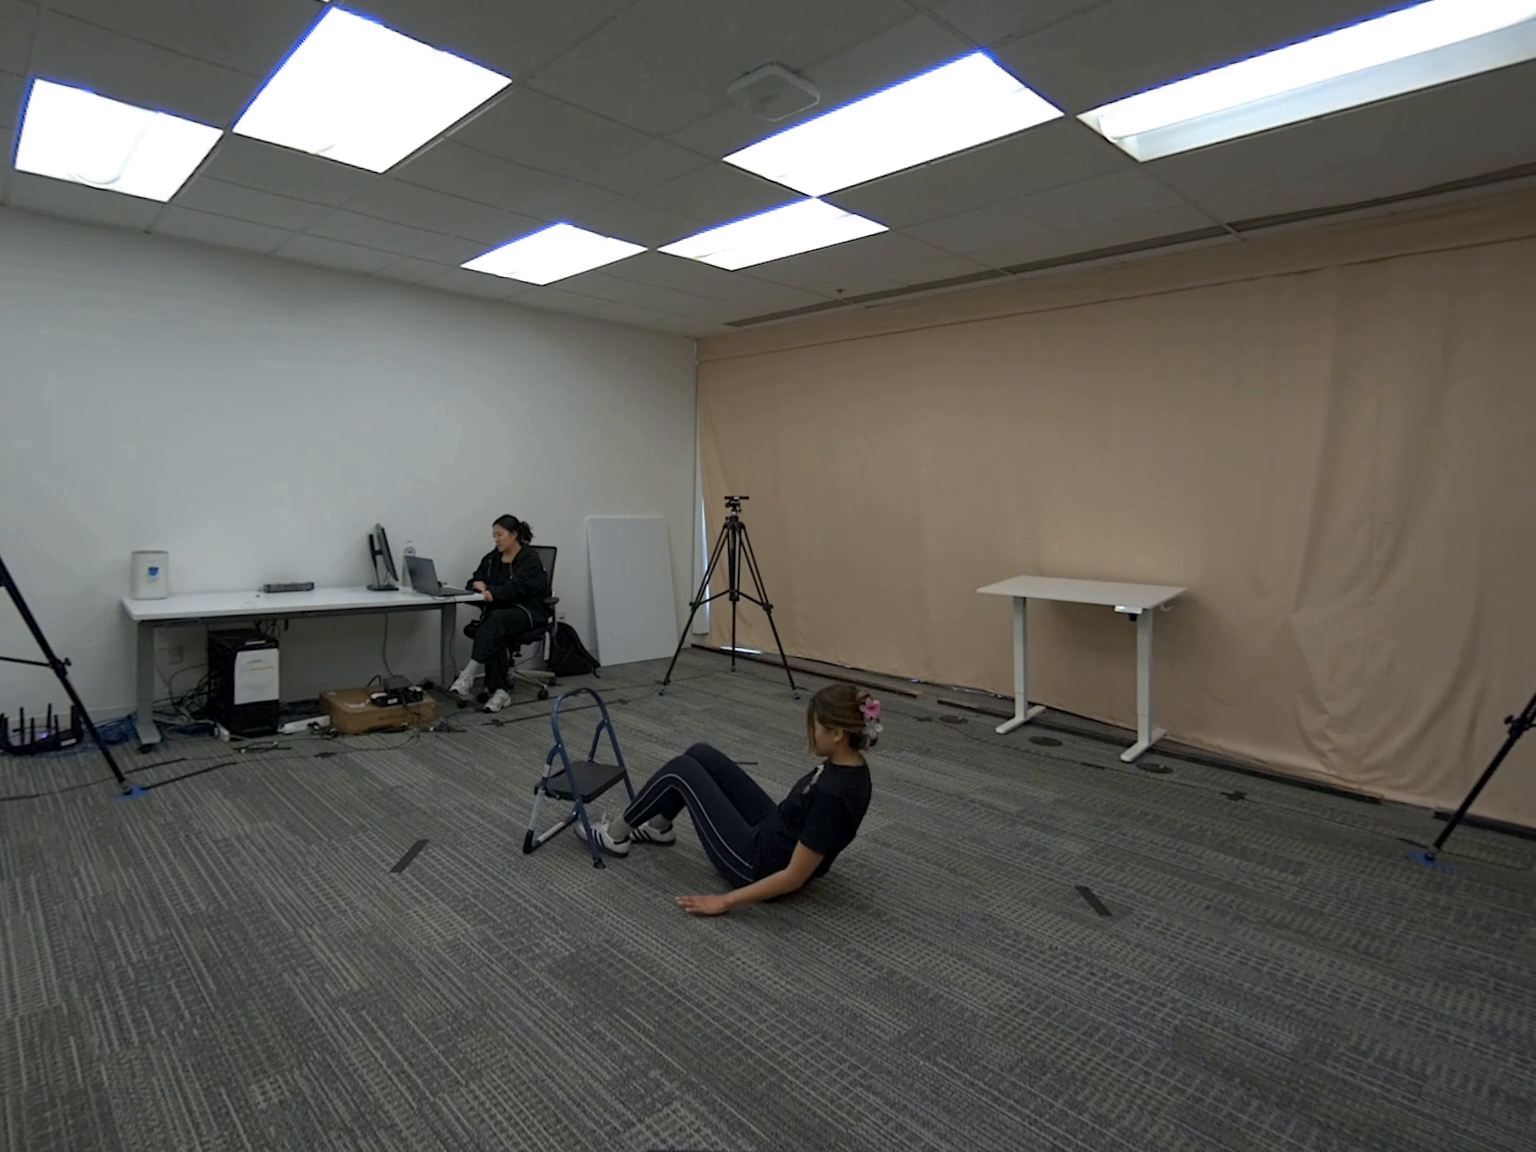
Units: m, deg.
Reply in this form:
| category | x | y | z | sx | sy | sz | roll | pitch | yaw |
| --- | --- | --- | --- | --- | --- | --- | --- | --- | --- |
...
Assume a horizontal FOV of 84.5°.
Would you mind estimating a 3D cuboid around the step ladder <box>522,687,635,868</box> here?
| category | x | y | z | sx | sy | sz | roll | pitch | yaw |
| --- | --- | --- | --- | --- | --- | --- | --- | --- | --- |
| step ladder | -0.729 | 0.762 | 3.374 | 0.354 | 0.604 | 0.426 | 2 | 4 | 16 |
